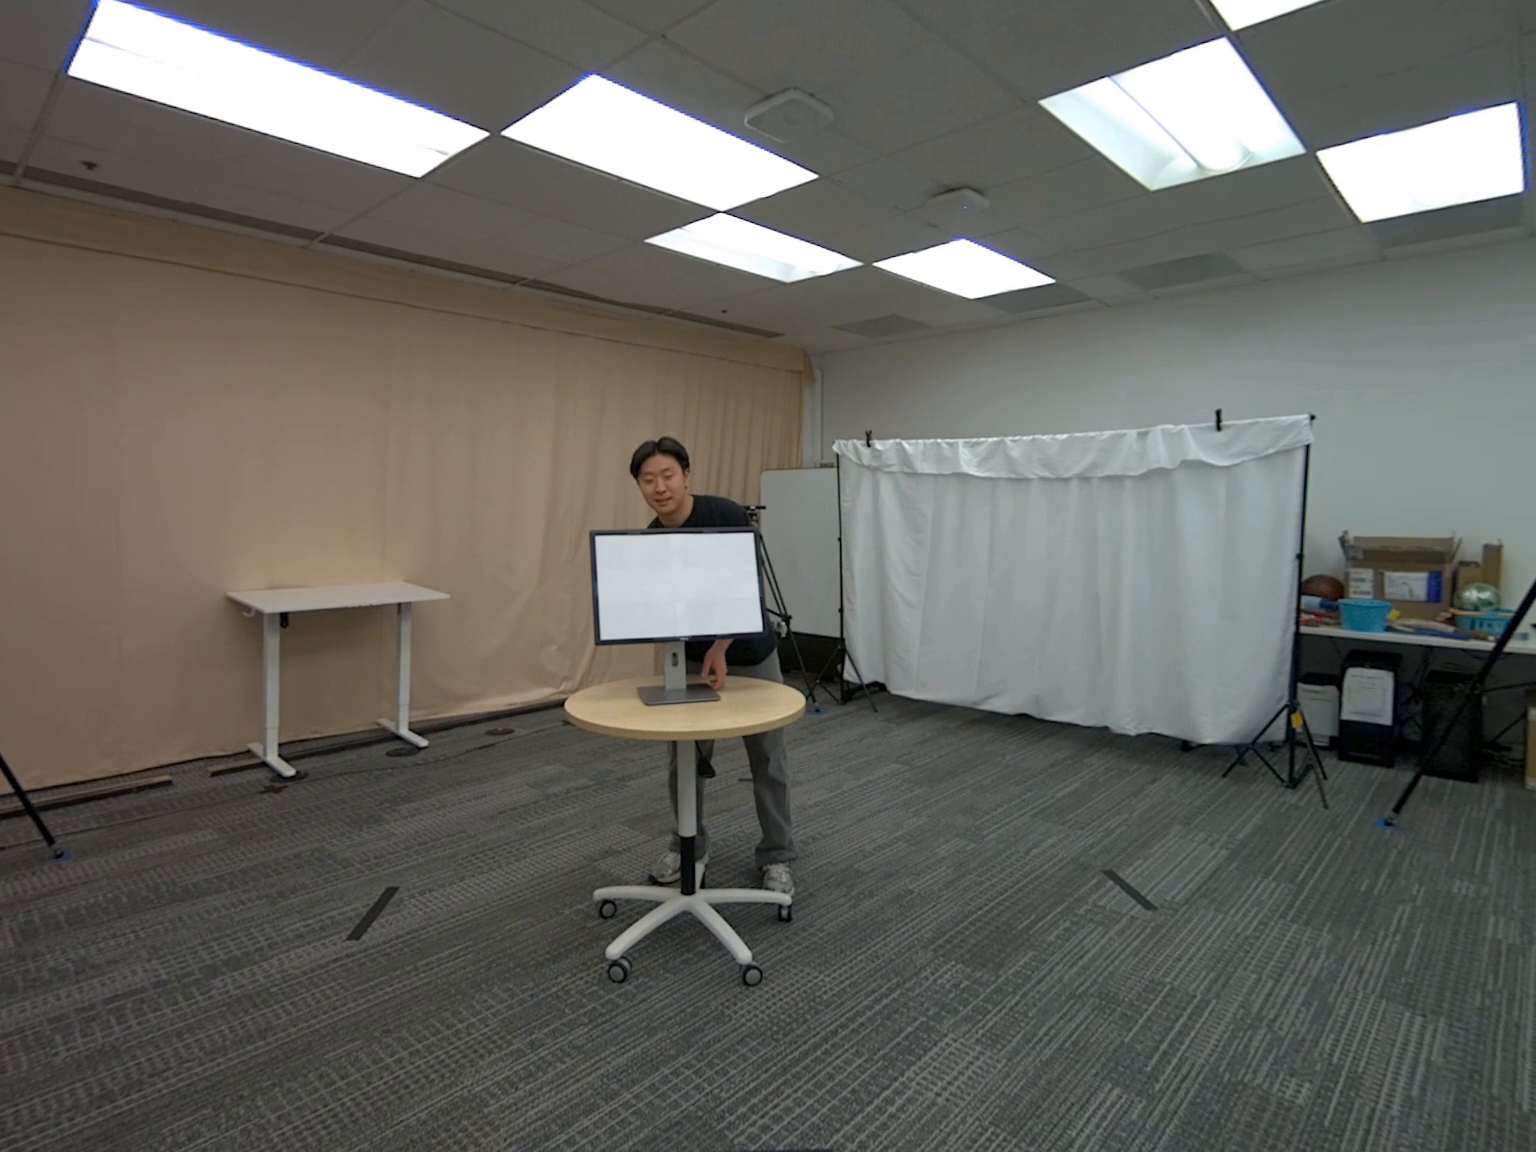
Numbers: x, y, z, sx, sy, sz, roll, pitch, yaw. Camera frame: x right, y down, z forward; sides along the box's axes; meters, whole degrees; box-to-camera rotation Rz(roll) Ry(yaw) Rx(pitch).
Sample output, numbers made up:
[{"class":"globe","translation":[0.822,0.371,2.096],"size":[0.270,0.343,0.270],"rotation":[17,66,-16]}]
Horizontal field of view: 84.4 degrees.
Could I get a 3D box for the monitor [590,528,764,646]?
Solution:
[{"class":"monitor","translation":[-0.287,0.128,2.713],"size":[0.554,0.564,0.226],"rotation":[-2,5,-12]}]
